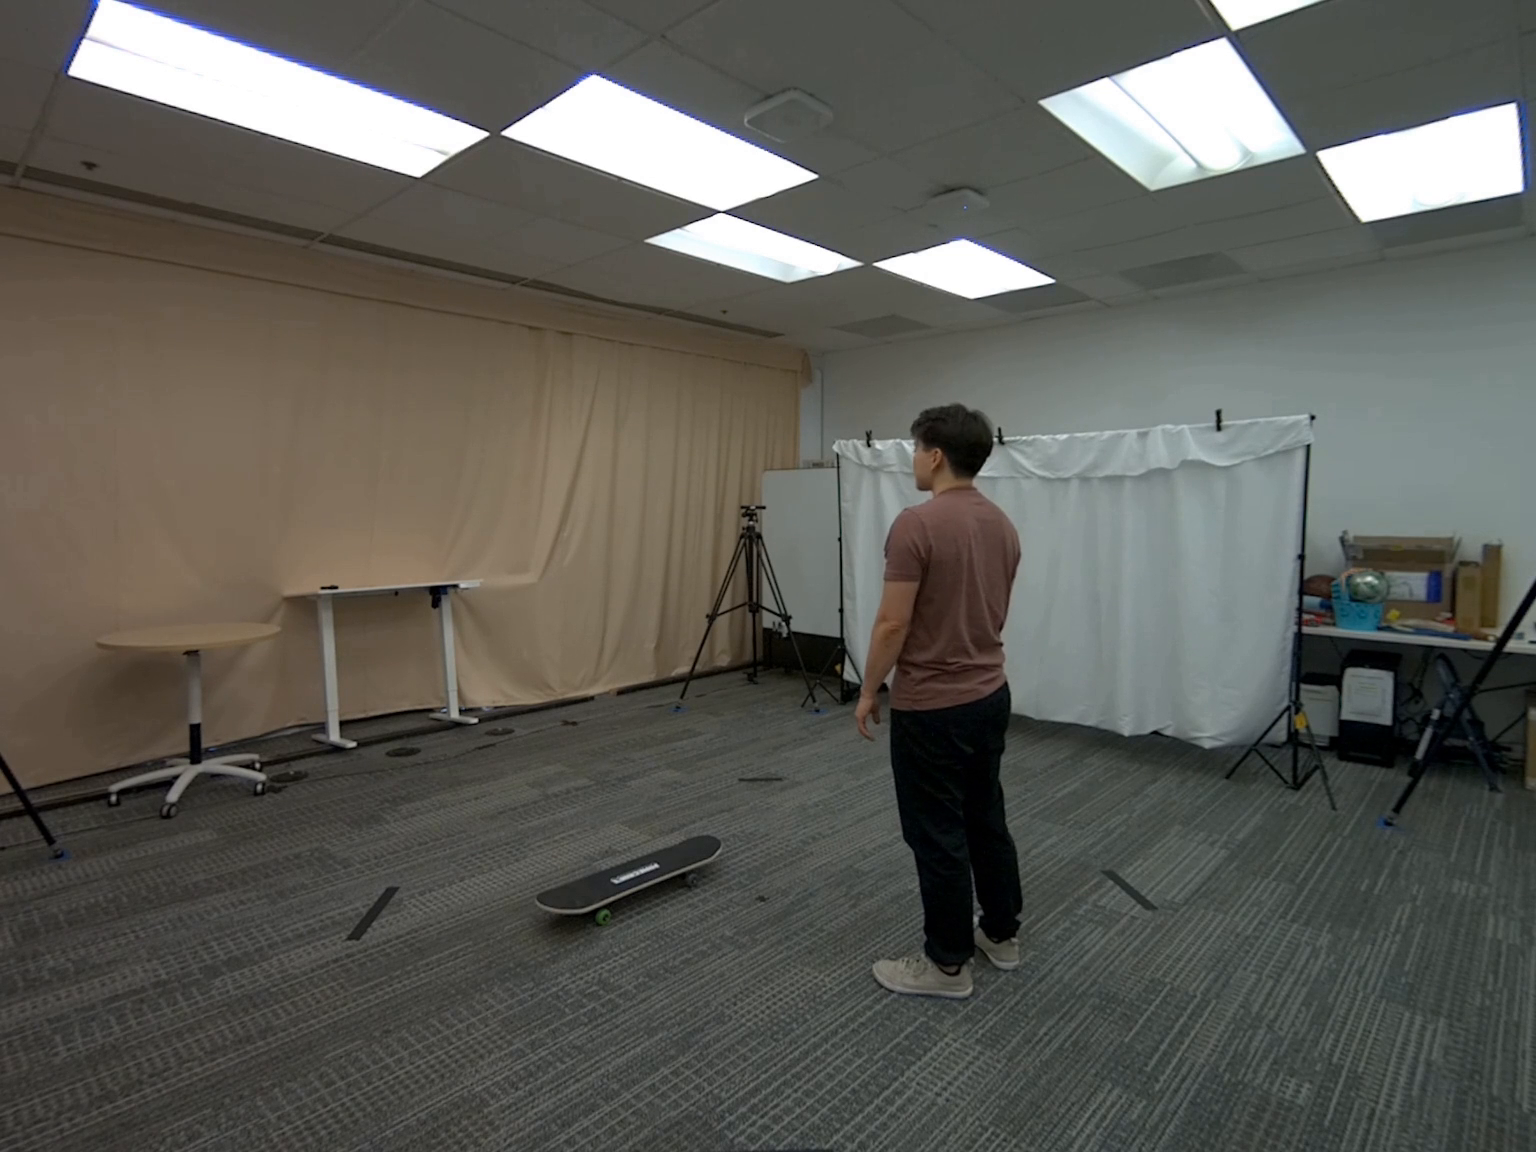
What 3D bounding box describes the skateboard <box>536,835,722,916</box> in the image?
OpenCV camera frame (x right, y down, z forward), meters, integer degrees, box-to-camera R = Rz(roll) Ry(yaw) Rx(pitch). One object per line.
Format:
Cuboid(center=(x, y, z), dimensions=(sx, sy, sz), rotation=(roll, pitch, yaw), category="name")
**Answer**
Cuboid(center=(-0.472, 1.092, 2.995), dimensions=(0.200, 0.110, 0.761), rotation=(5, 7, 45), category="skateboard")
